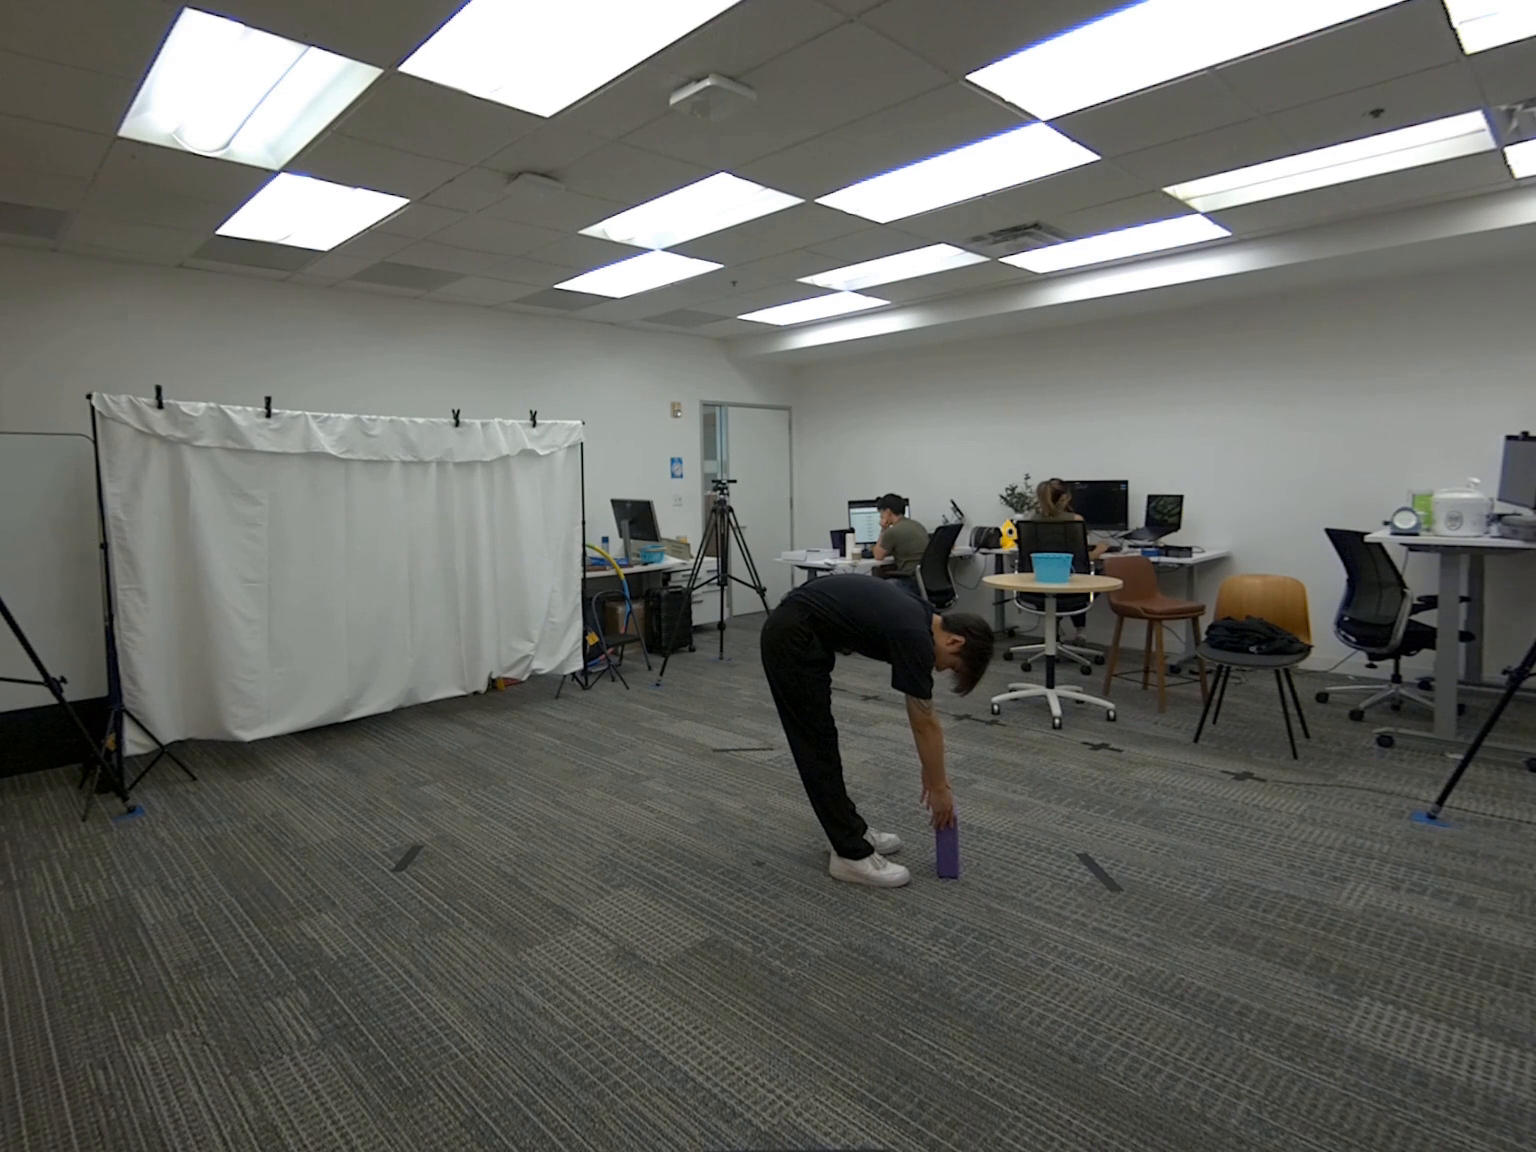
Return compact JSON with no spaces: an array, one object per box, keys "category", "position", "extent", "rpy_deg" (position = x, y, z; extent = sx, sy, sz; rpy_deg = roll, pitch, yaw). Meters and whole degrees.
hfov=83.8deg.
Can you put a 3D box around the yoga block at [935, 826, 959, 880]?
[{"category":"yoga block","position":[0.631,0.926,3.024],"extent":[0.077,0.228,0.148],"rpy_deg":[0,6,9]}]
